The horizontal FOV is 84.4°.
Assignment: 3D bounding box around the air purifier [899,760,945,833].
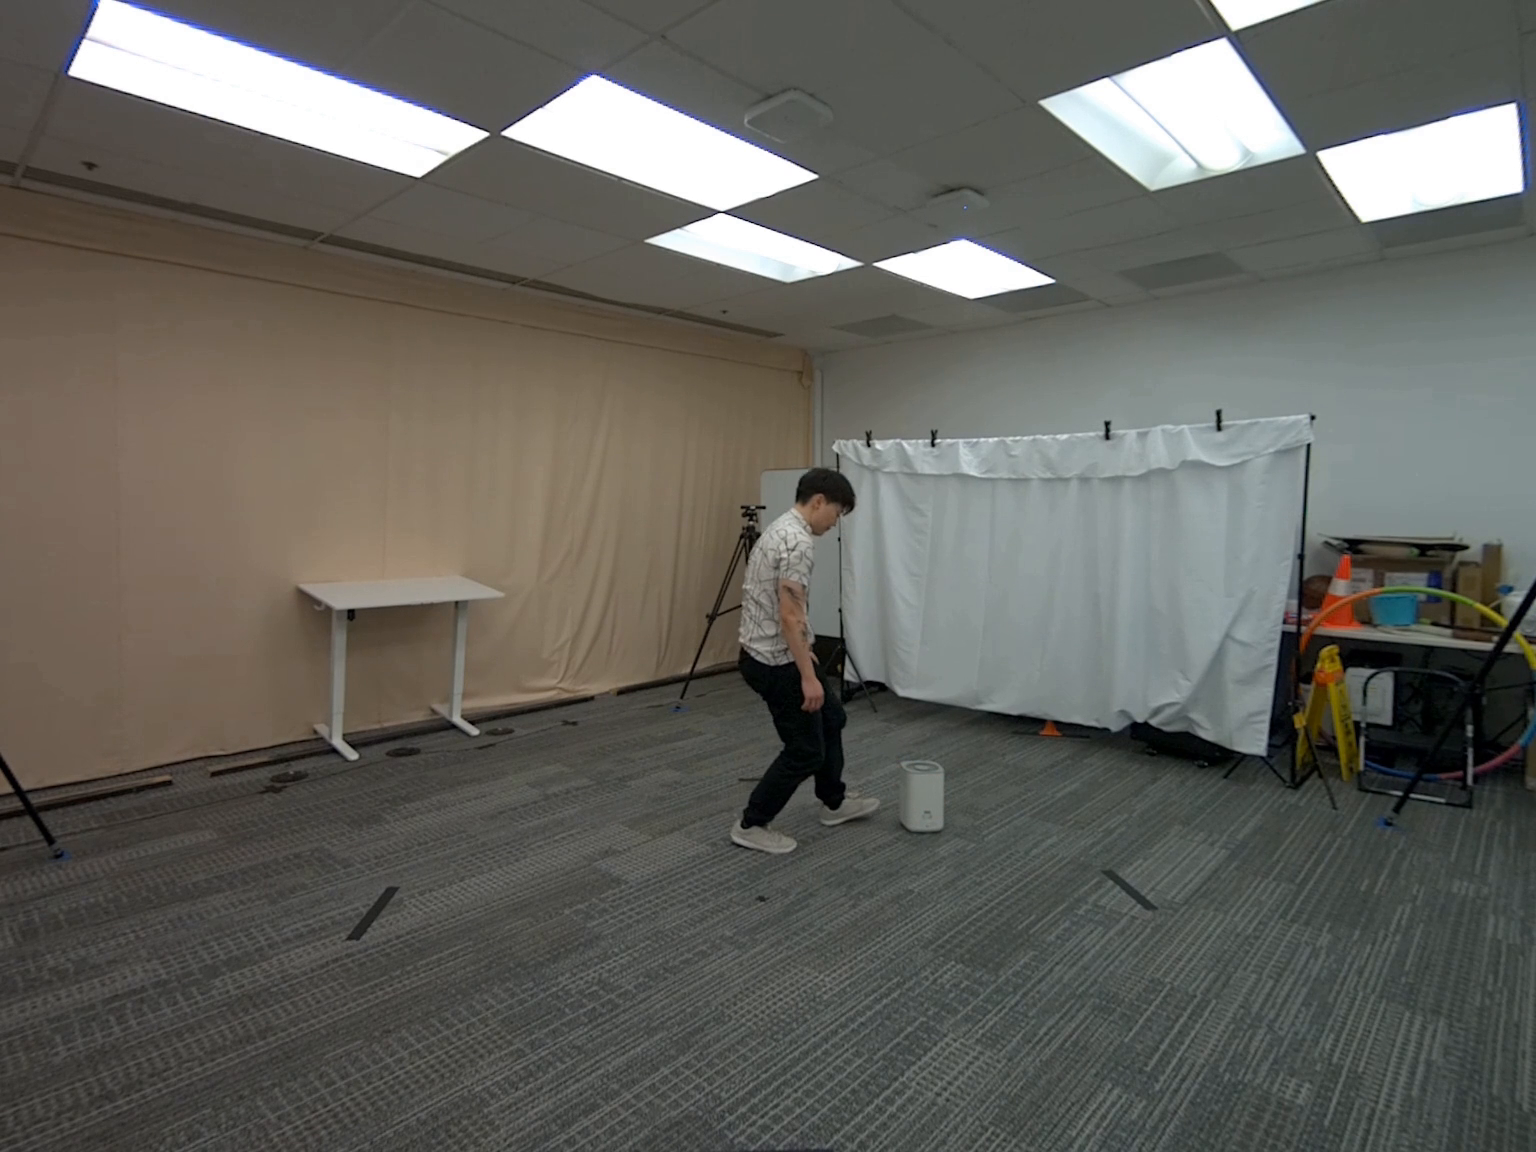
[{"bbox_3d":[0.667,0.953,3.643,0.171,0.265,0.172,1,4,-5],"label":"air purifier"}]
